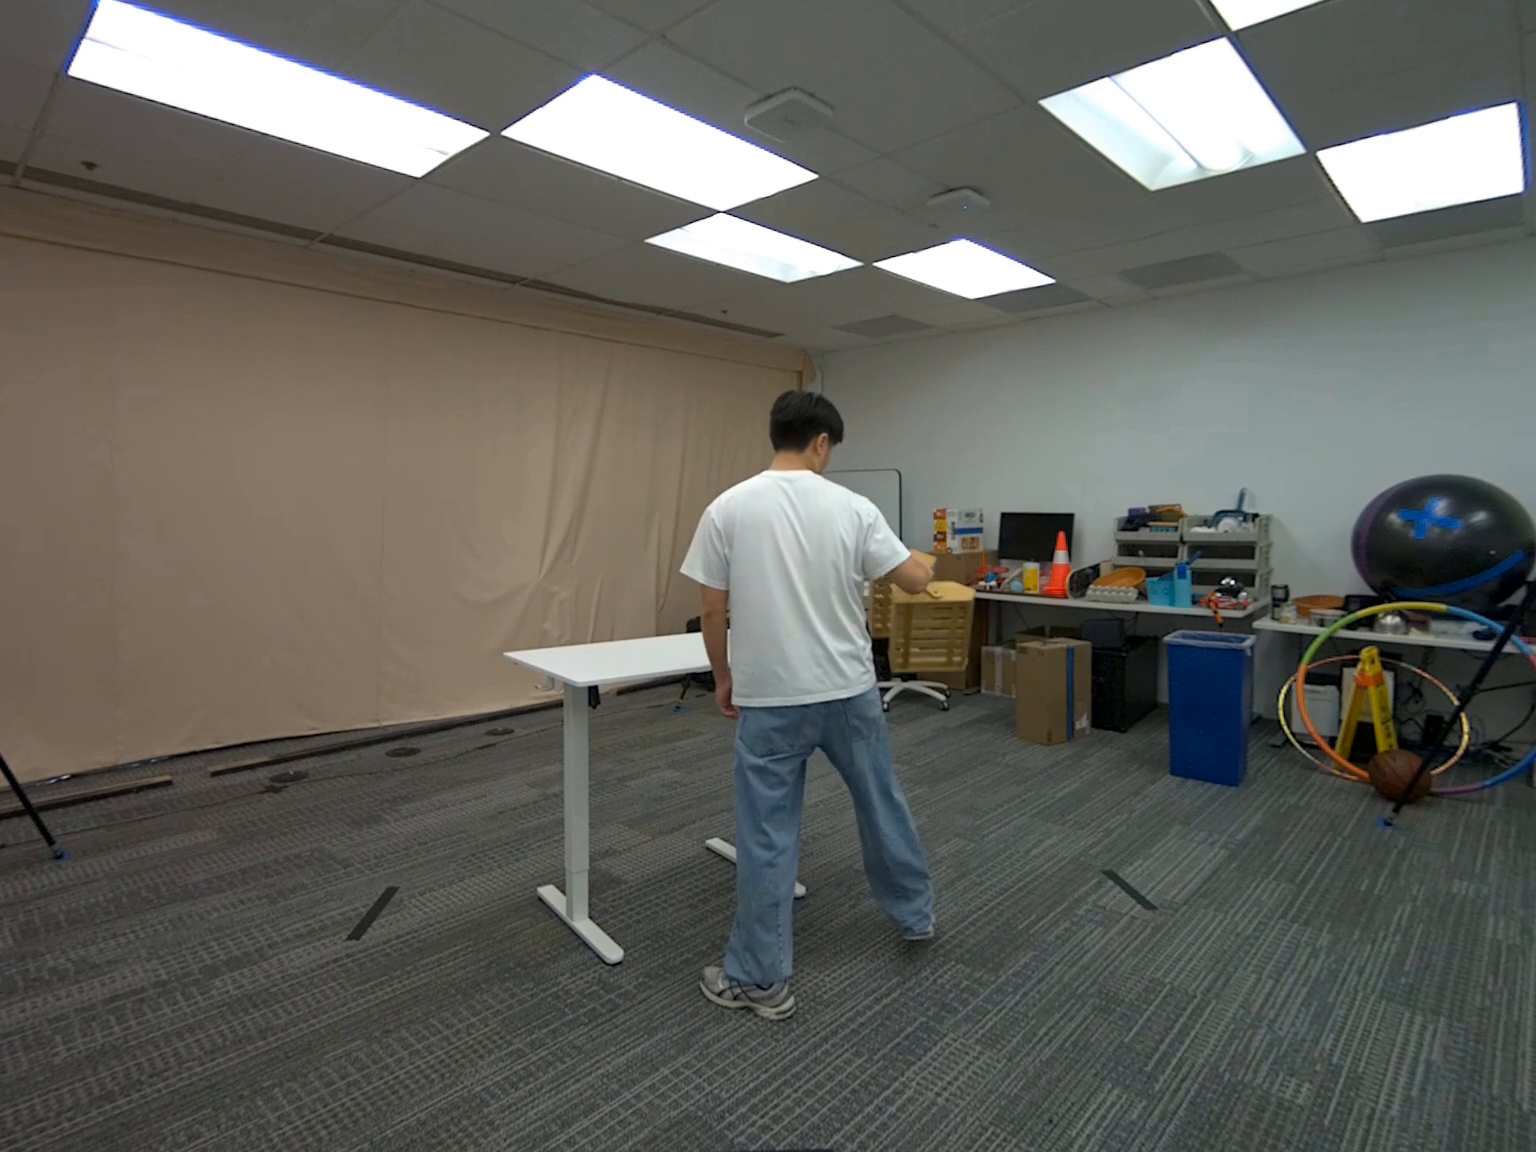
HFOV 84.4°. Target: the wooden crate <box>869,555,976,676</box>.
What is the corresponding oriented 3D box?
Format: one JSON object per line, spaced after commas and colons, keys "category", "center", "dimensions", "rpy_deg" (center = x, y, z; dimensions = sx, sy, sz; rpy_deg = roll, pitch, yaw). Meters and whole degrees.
{"category": "wooden crate", "center": [0.496, 0.121, 2.770], "dimensions": [0.303, 0.318, 0.278], "rpy_deg": [-3, 37, 2]}
